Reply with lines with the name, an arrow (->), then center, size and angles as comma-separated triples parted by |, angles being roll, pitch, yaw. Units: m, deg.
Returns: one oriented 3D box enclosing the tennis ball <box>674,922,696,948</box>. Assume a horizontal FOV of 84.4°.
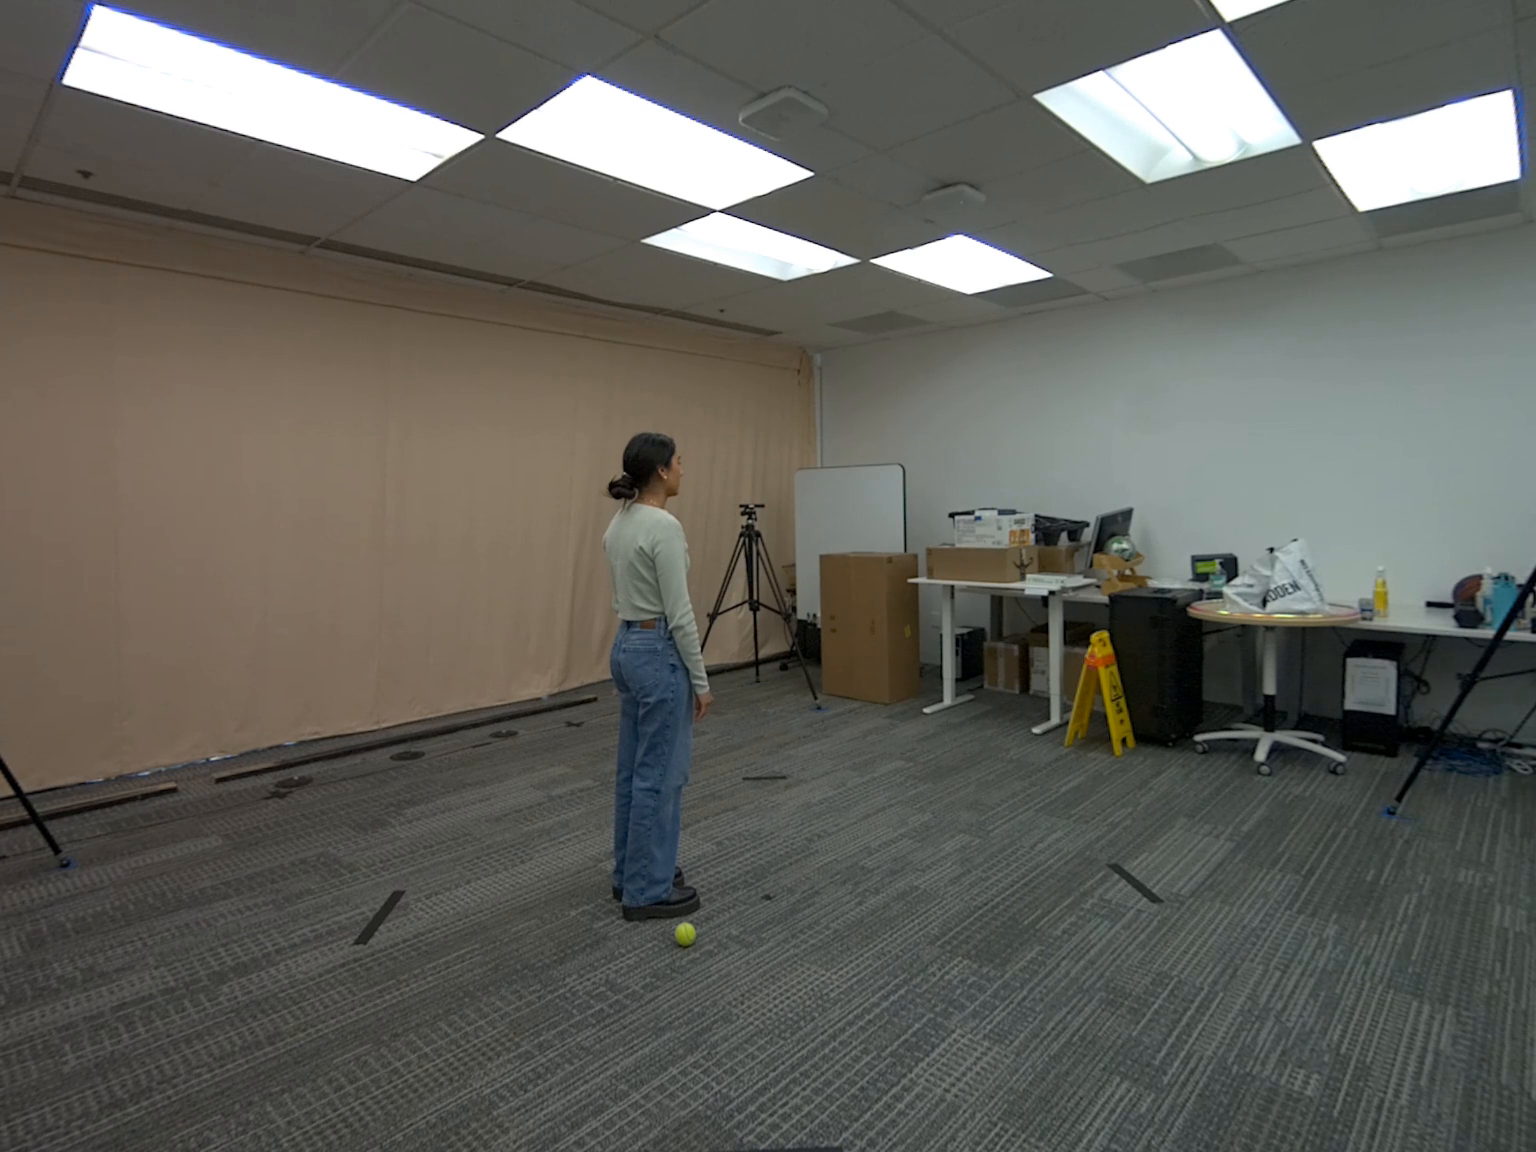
tennis ball -> -0.258, 1.126, 2.658 | 0.066, 0.066, 0.067 | -1, 4, -2
